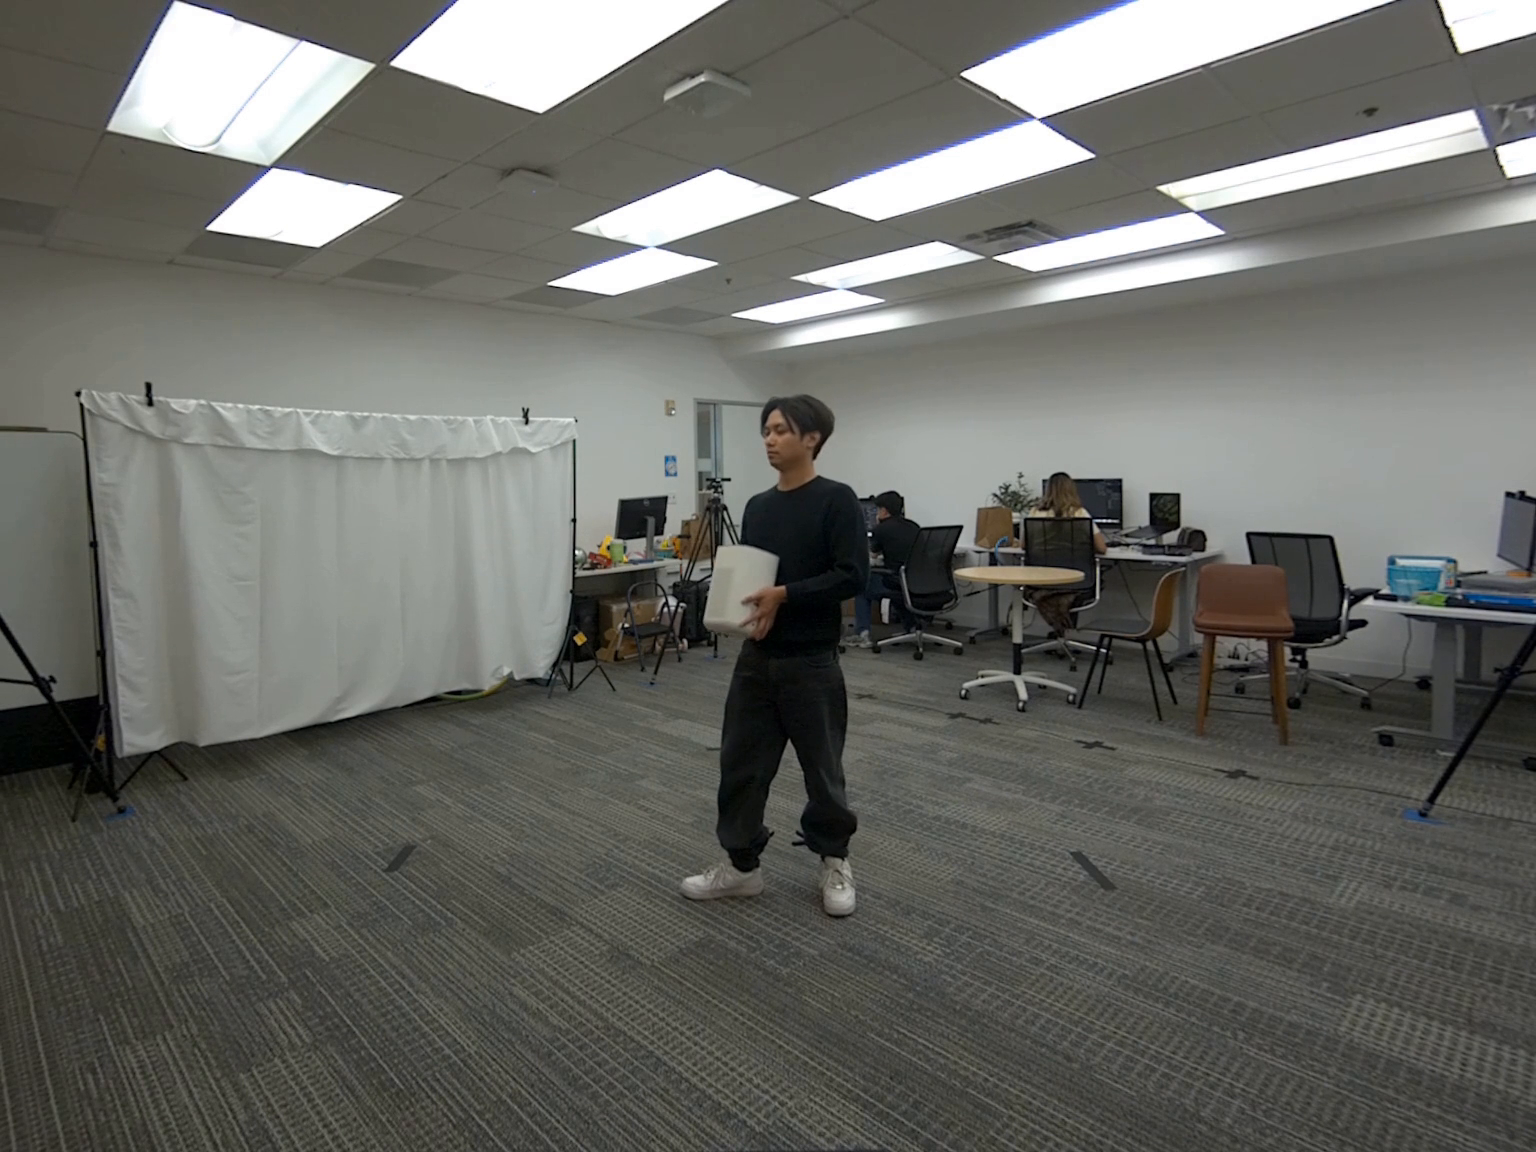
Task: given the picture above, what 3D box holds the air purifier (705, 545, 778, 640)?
[{"bbox_3d":[-0.053,0.055,2.678,0.177,0.267,0.165,1,-15,41],"label":"air purifier"}]
